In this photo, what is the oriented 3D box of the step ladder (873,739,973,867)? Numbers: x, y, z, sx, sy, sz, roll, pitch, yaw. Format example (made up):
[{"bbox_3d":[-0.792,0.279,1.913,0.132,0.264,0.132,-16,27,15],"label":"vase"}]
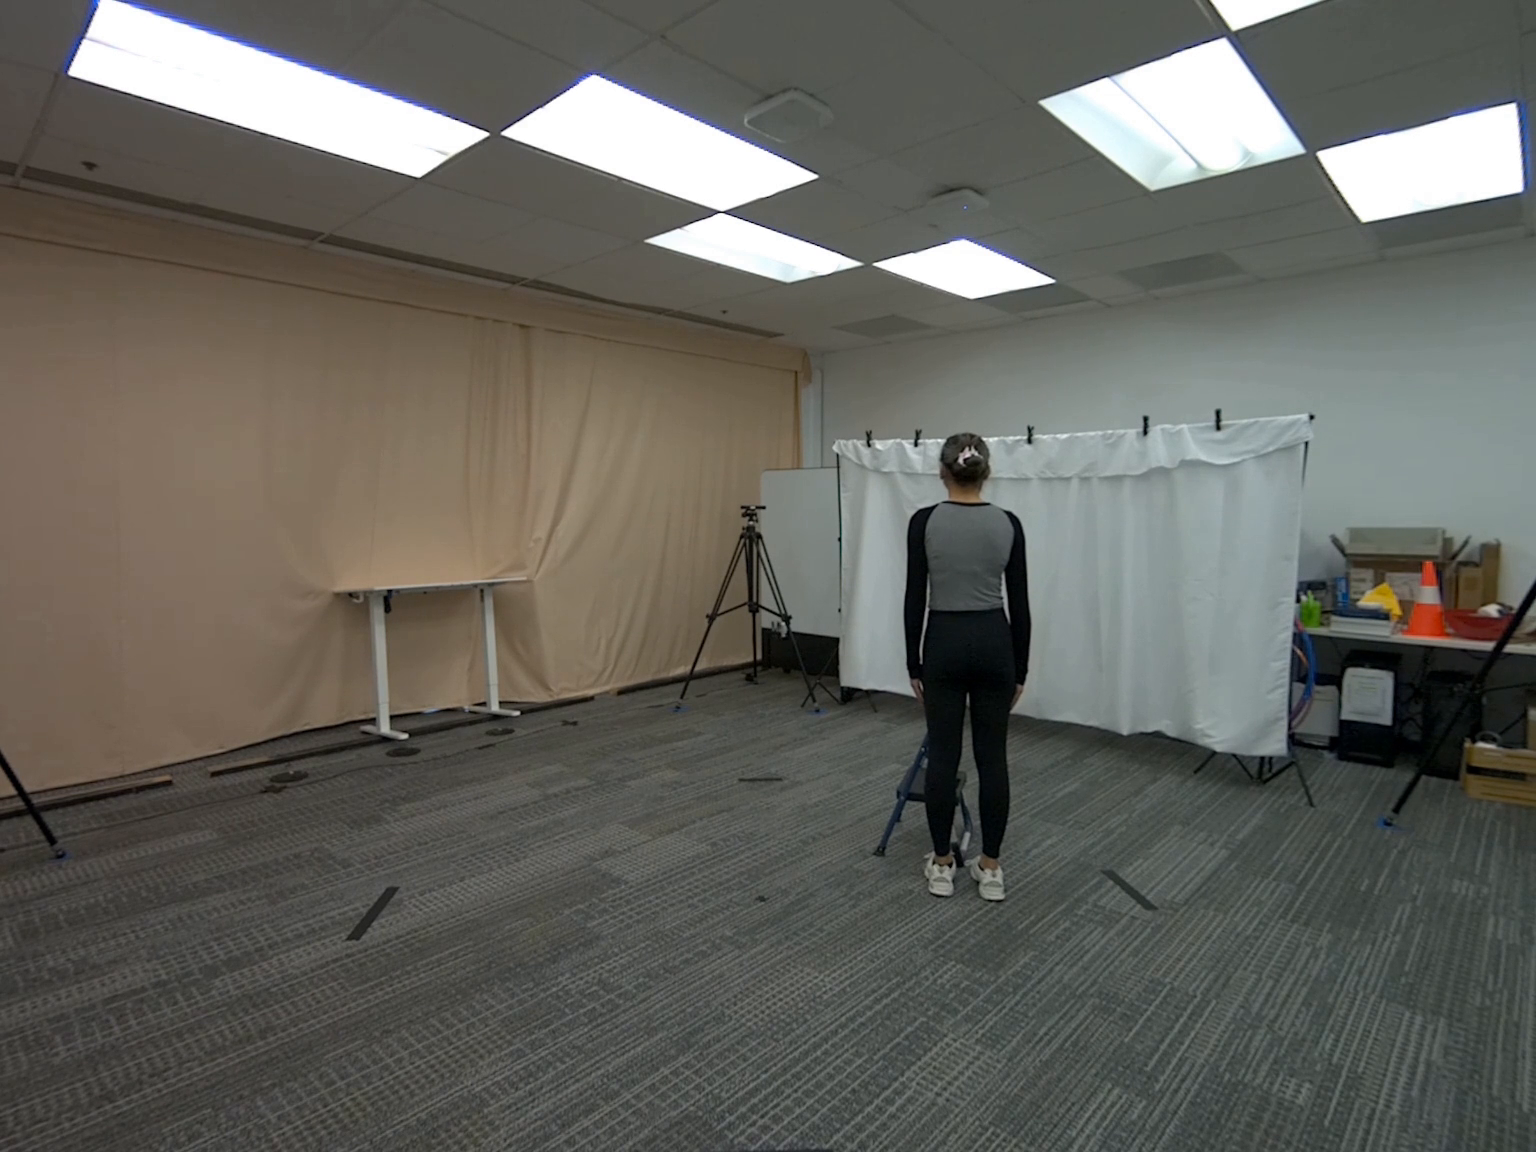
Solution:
[{"bbox_3d":[0.654,0.802,3.468,0.357,0.604,0.422,1,4,20],"label":"step ladder"}]
